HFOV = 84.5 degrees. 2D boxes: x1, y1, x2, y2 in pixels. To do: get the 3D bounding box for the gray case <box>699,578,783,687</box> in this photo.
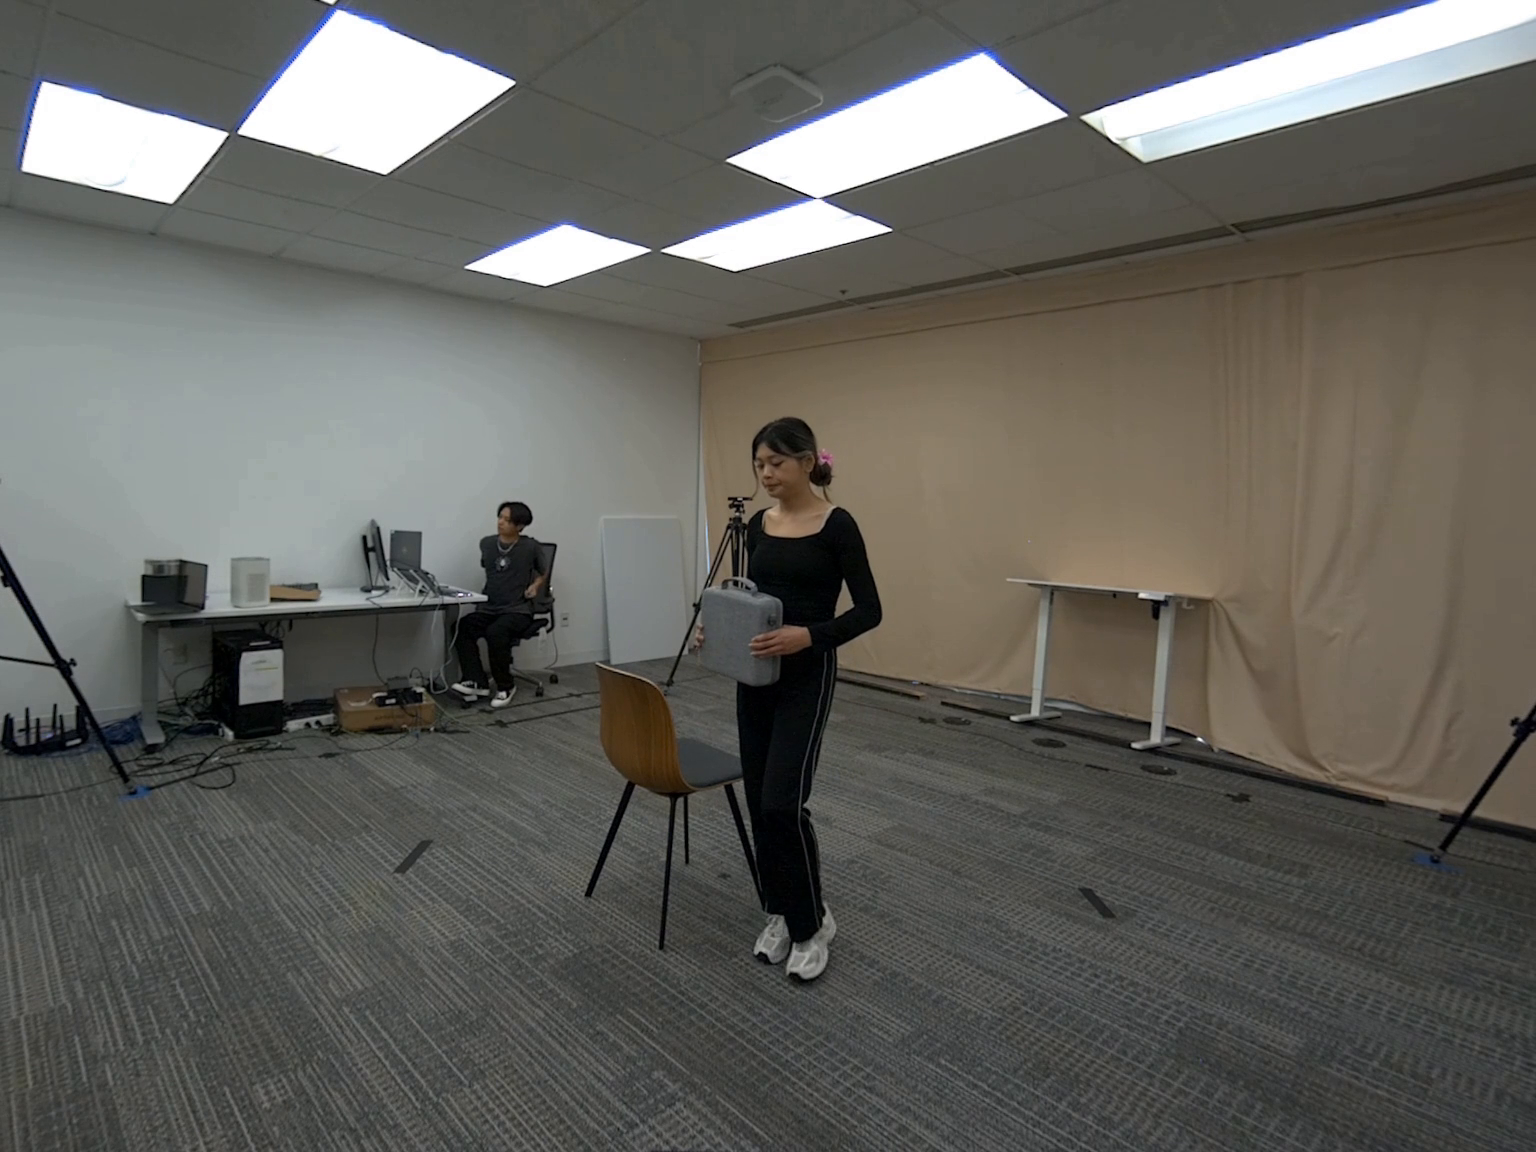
[{"bbox_3d":[-0.078,0.166,2.417,0.102,0.259,0.264,-7,13,-44],"label":"gray case"}]
